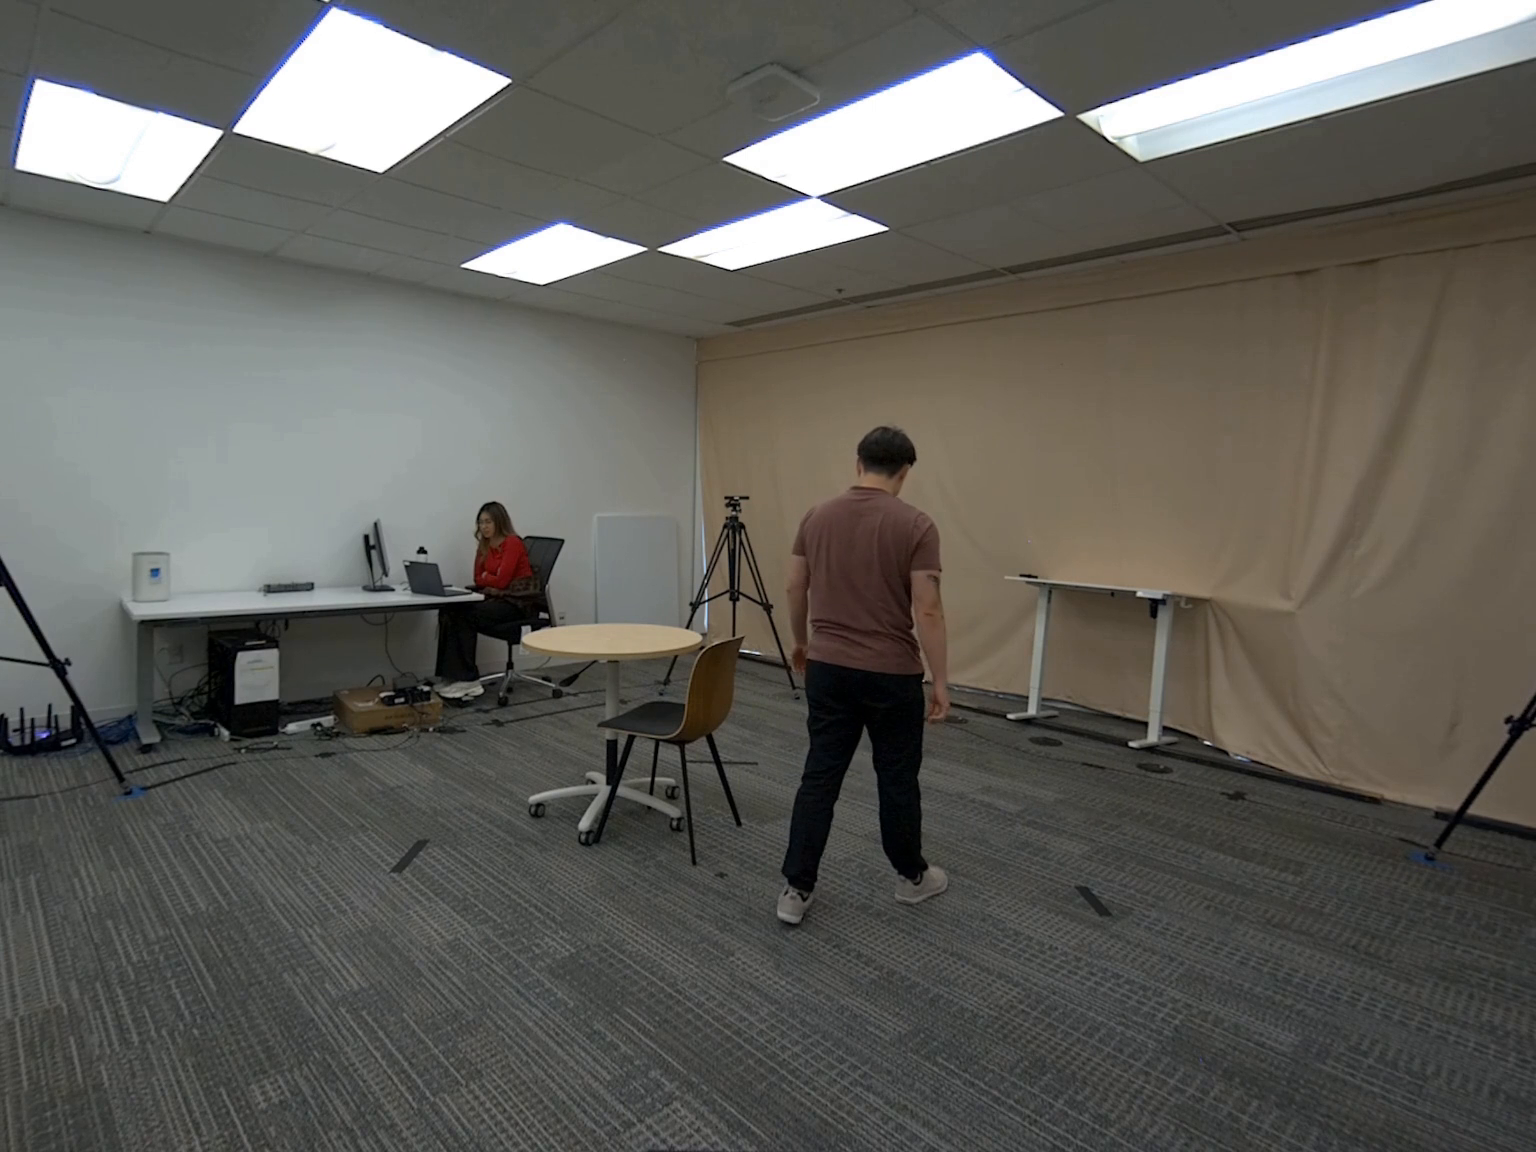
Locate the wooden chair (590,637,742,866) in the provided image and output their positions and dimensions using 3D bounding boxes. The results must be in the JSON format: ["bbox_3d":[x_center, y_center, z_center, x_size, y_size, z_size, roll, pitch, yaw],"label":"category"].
[{"bbox_3d":[-0.404,0.644,3.436,0.533,0.874,0.470,7,6,23],"label":"wooden chair"}]
